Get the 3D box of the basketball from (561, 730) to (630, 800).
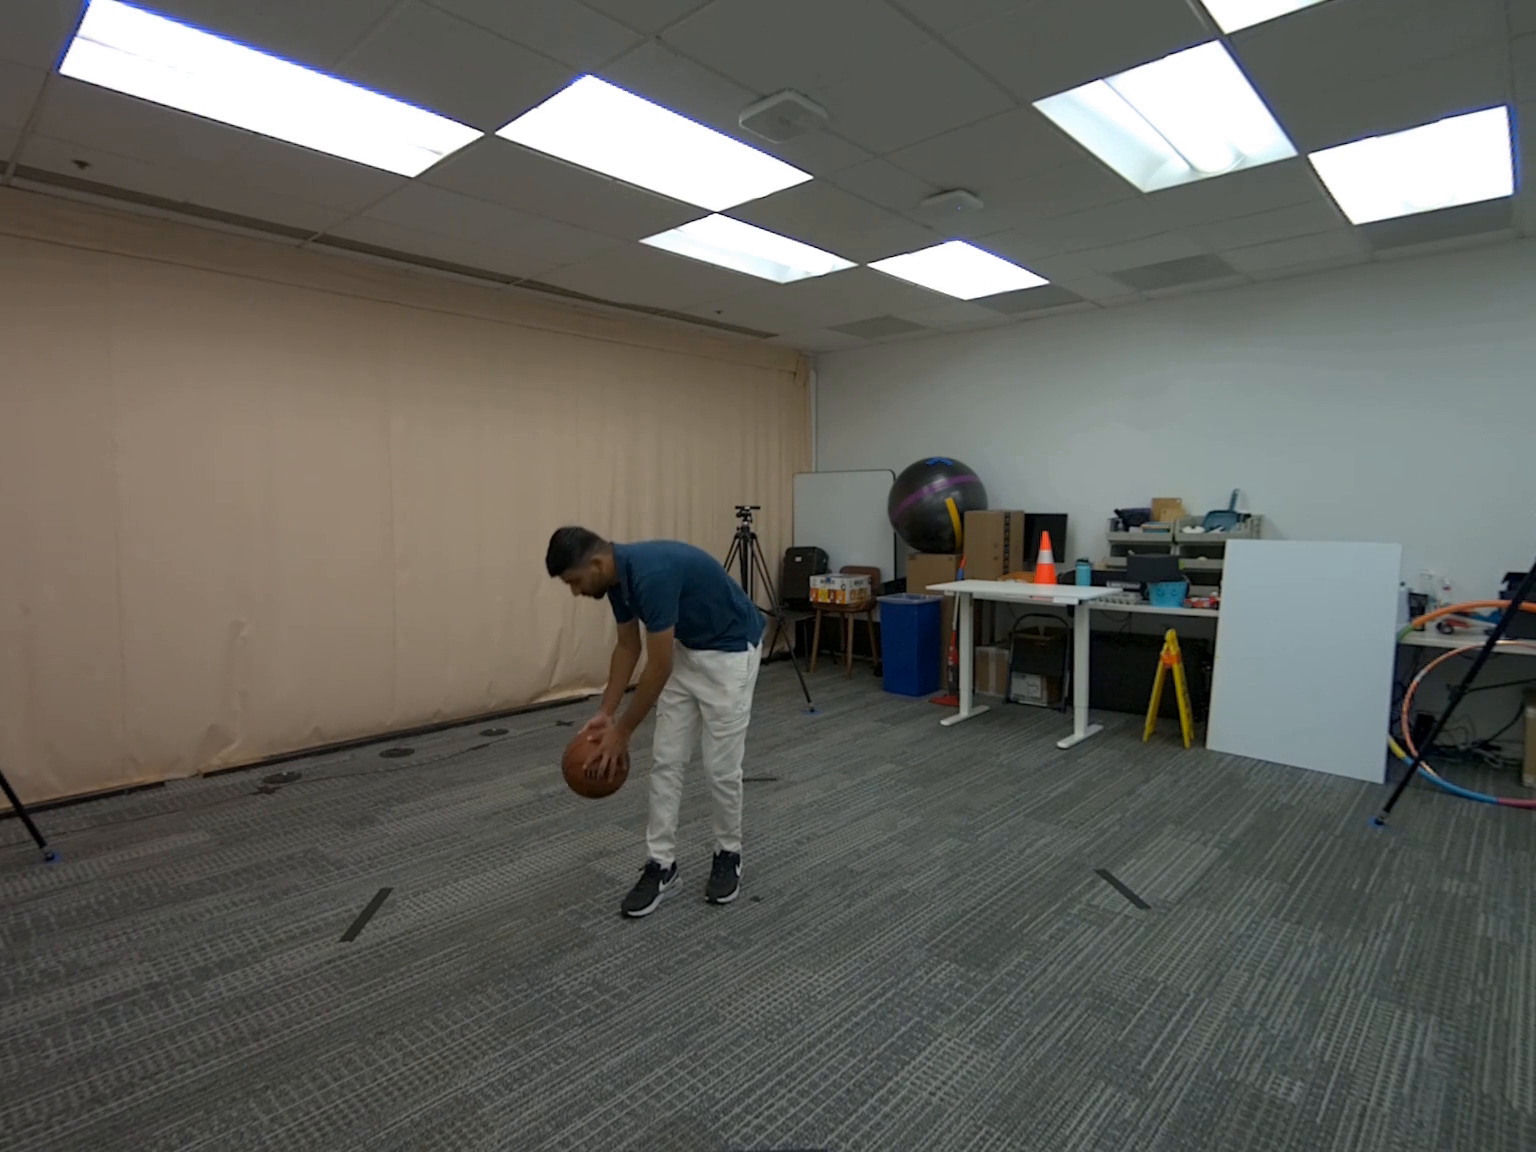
[{"bbox_3d":[-0.608,0.660,2.968,0.236,0.235,0.237,0,4,-2],"label":"basketball"}]
